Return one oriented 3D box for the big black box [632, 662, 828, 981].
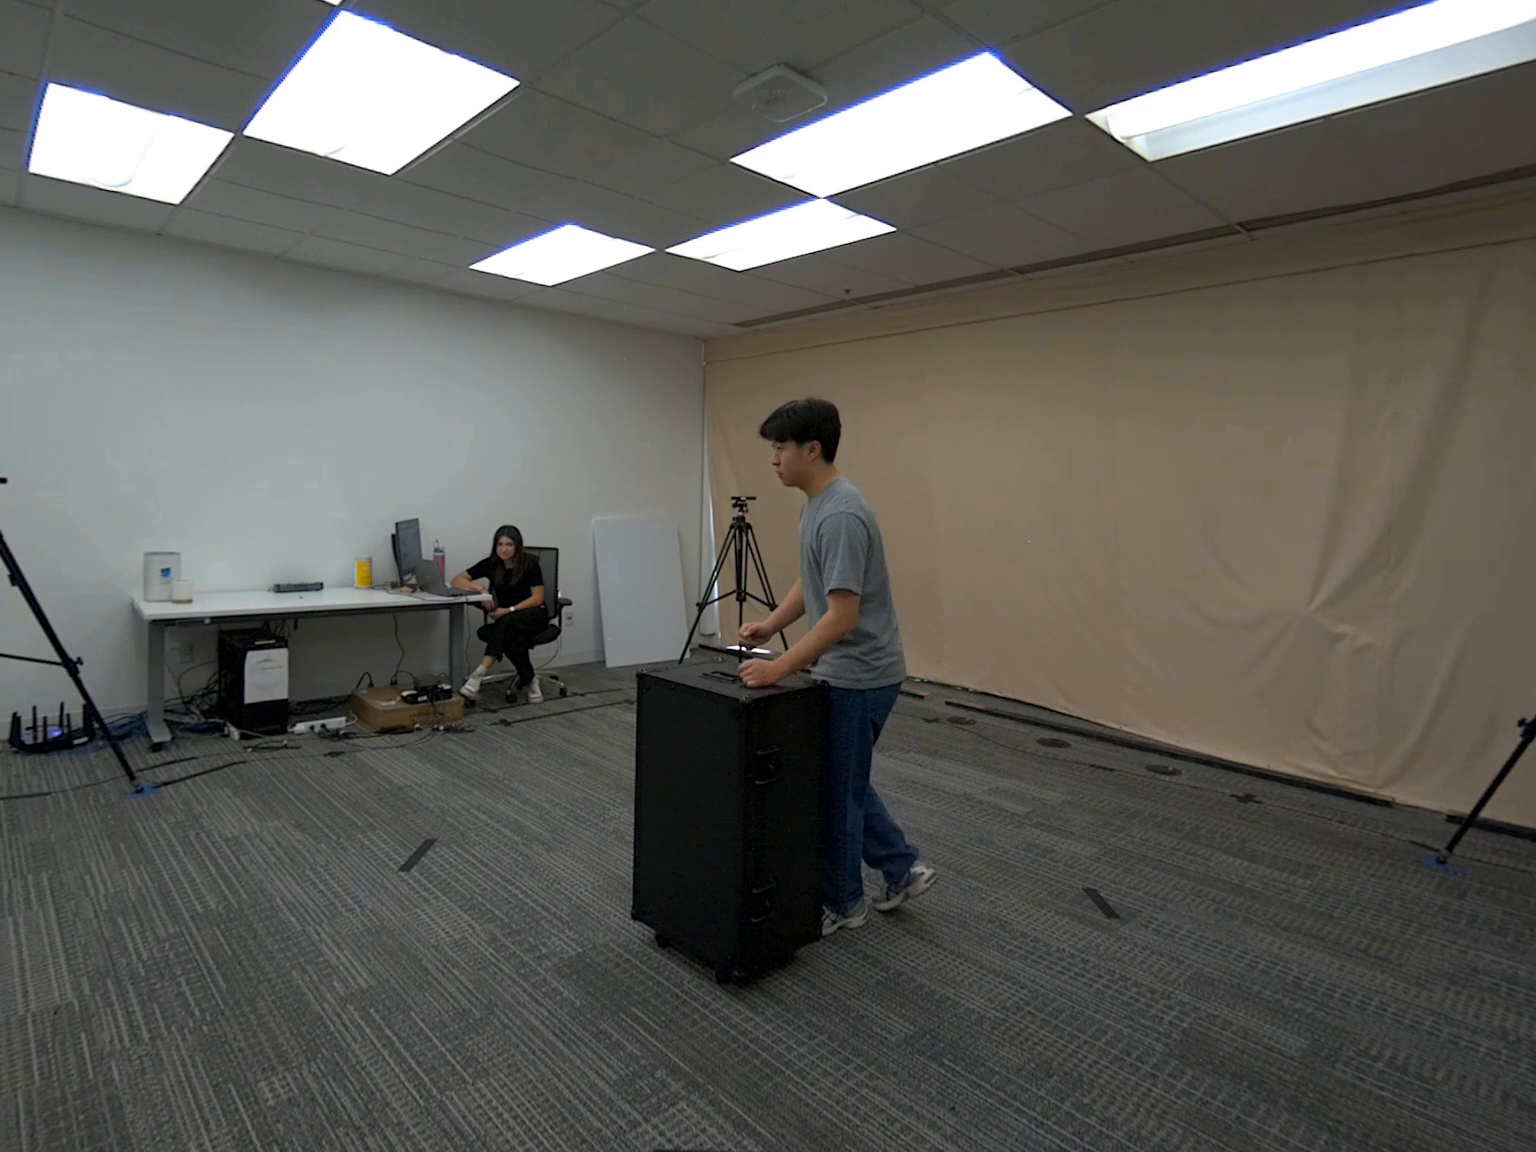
[{"bbox_3d":[-0.125,0.728,2.570,0.534,0.860,0.387,4,3,44],"label":"big black box"}]
